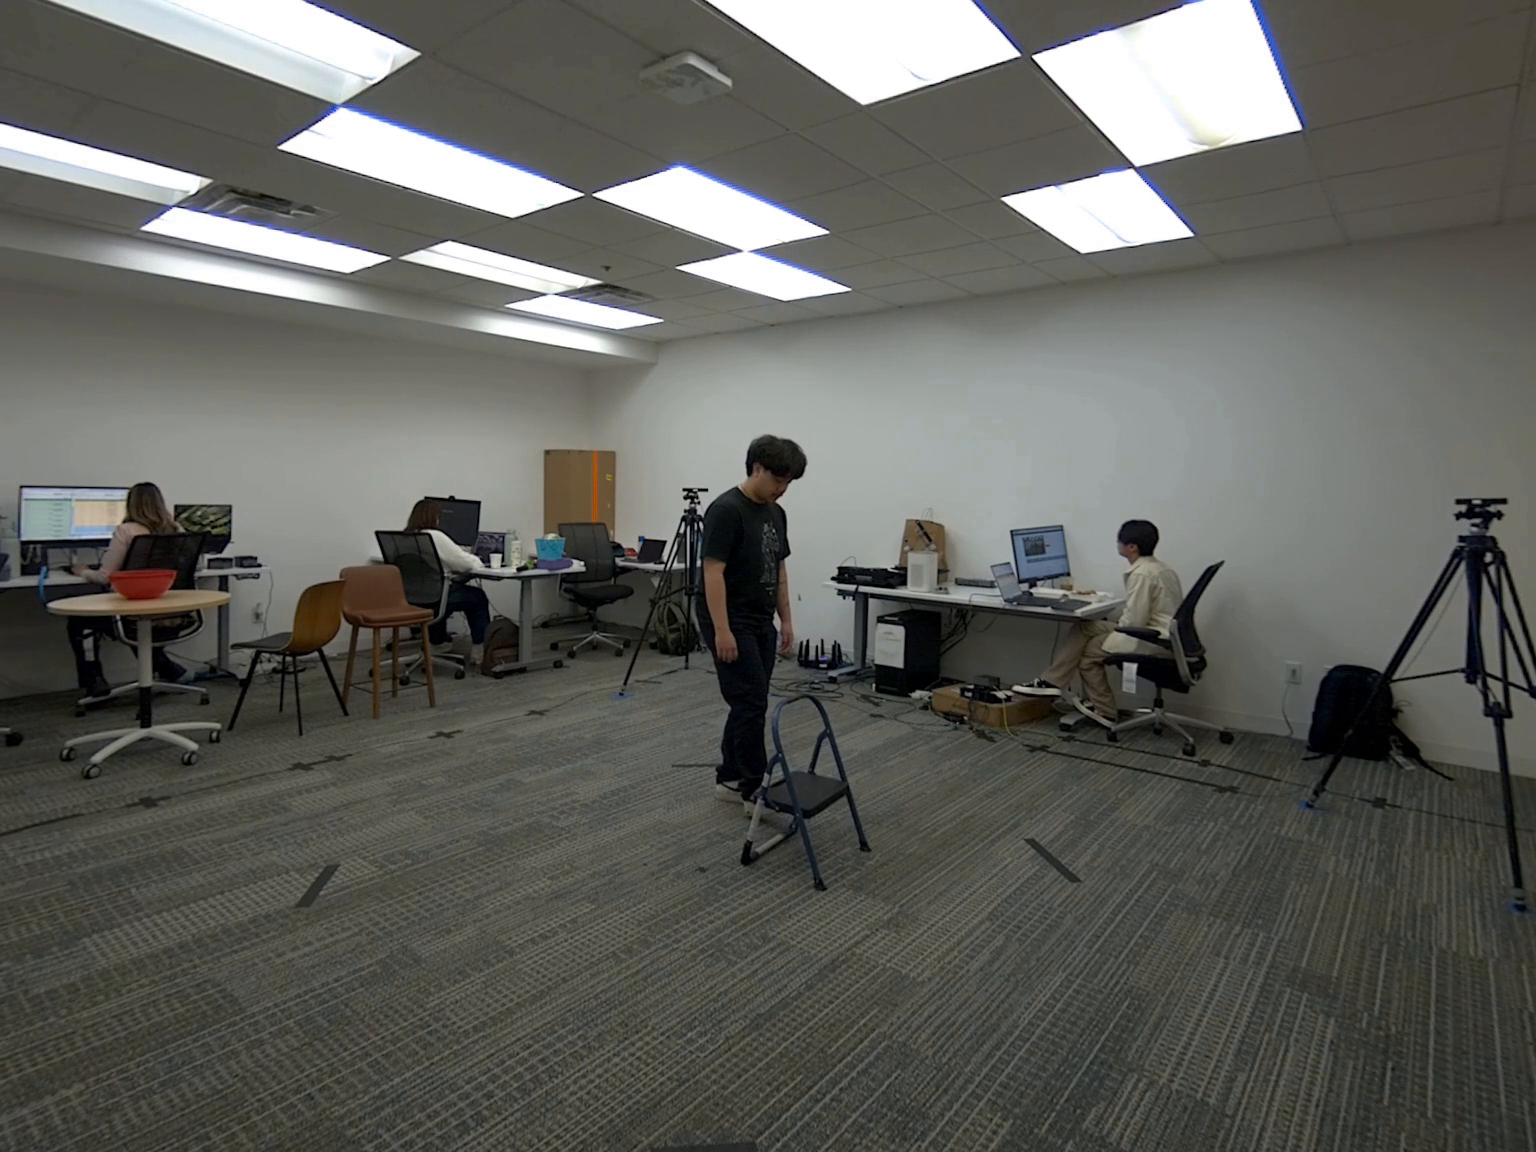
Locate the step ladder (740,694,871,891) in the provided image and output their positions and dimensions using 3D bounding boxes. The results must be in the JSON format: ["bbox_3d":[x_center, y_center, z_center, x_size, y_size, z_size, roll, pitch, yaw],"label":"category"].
[{"bbox_3d":[0.153,0.762,3.210,0.360,0.604,0.419,4,4,31],"label":"step ladder"}]
